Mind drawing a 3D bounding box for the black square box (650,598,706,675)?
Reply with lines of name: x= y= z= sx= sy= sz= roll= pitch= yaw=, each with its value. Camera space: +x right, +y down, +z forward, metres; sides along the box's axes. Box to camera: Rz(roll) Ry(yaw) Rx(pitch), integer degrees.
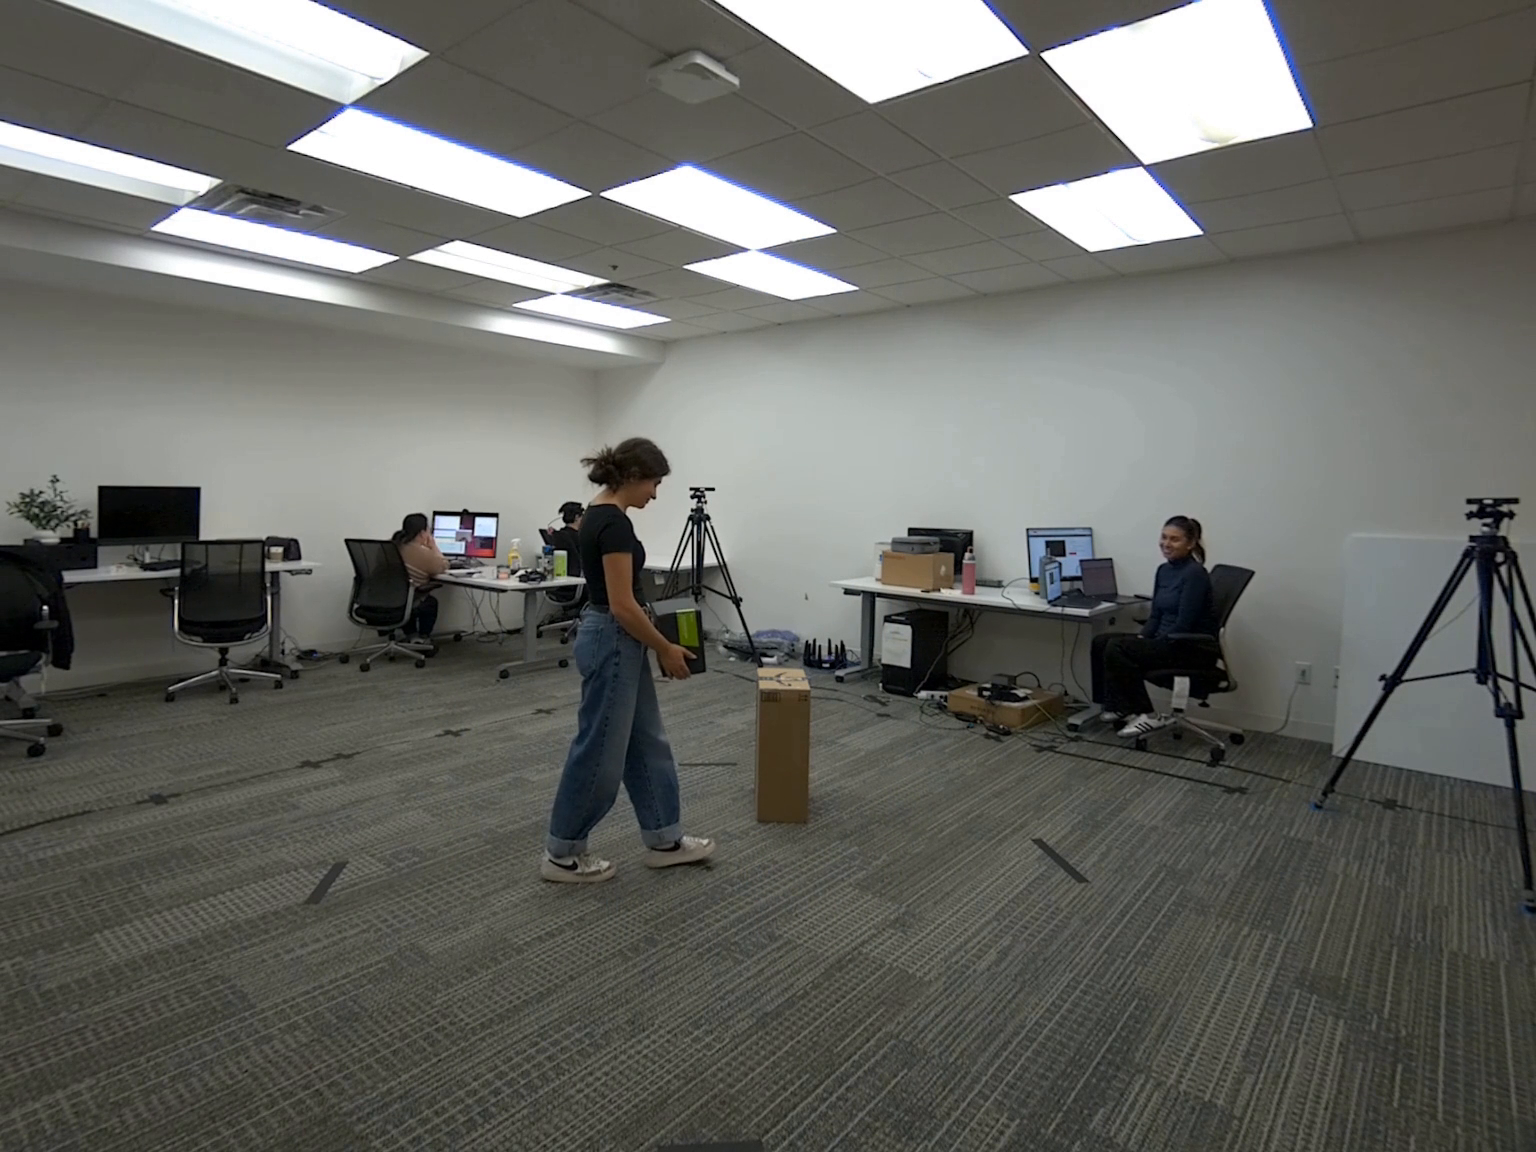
black square box: x=-0.318 y=0.207 z=3.060 sx=0.154 sy=0.227 sz=0.221 roll=-6 pitch=6 yaw=-15
